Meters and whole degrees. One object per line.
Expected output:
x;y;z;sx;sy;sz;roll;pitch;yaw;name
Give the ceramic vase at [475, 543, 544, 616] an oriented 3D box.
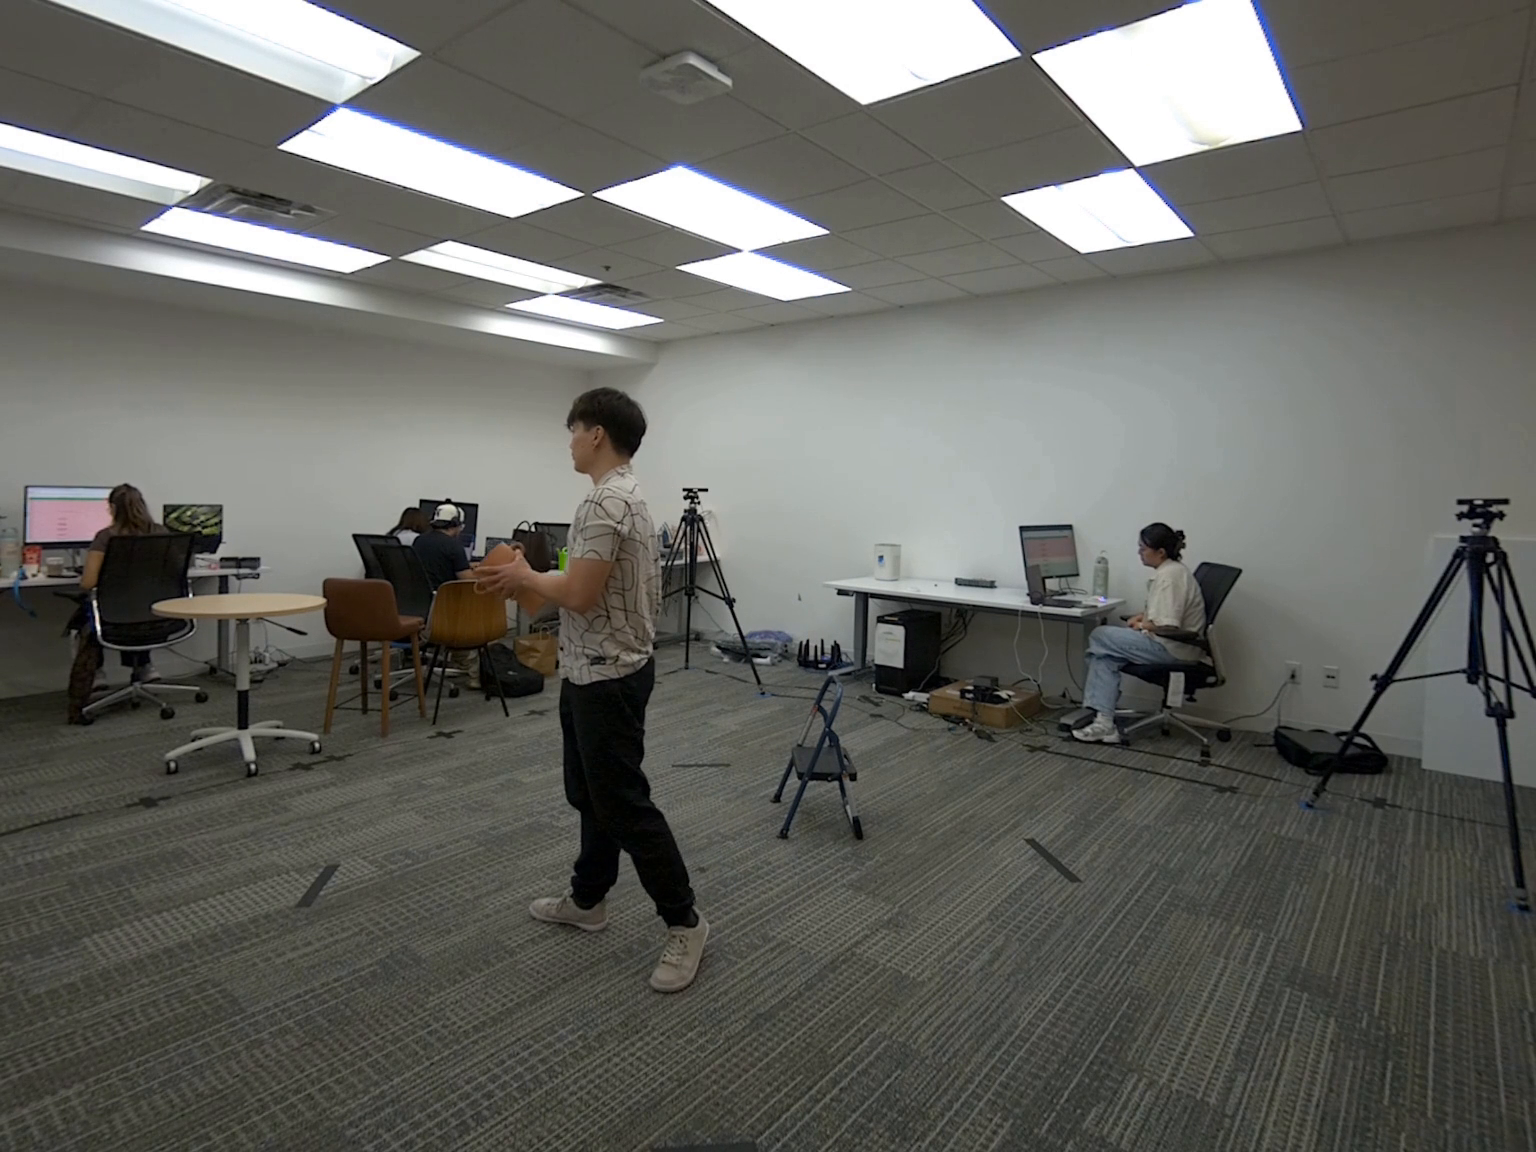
-0.769;0.013;2.594;0.159;0.219;0.135;-45;4;26;ceramic vase
